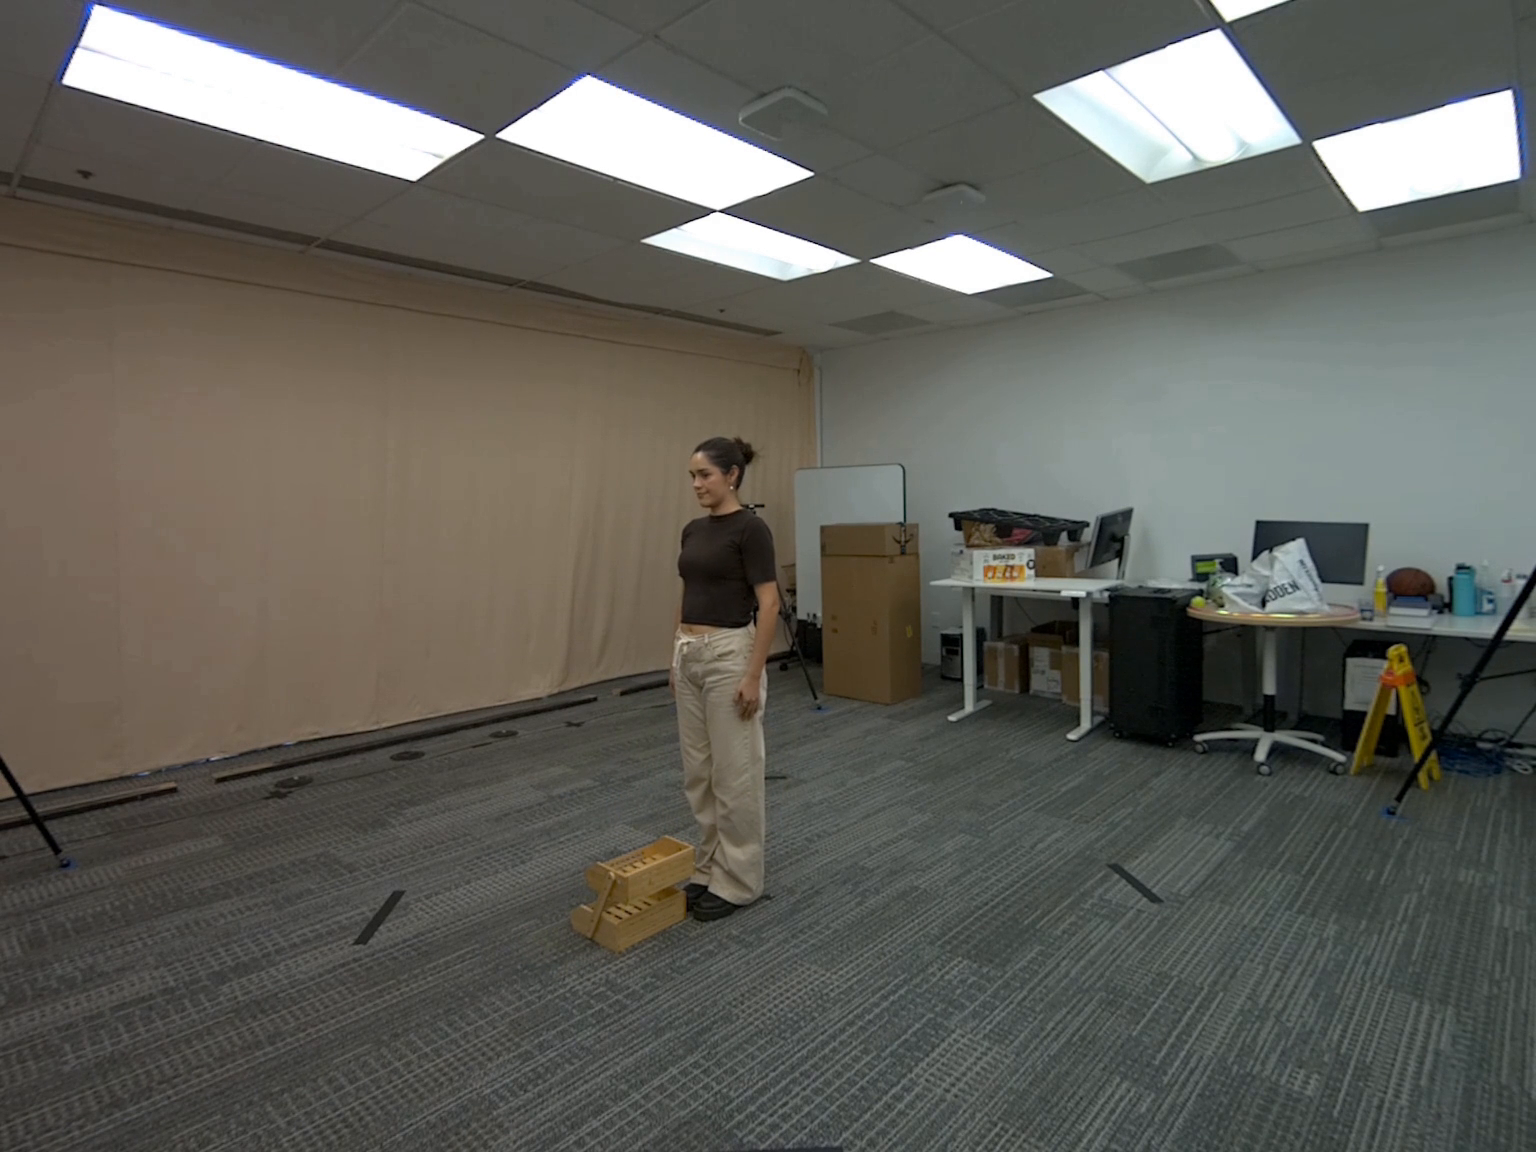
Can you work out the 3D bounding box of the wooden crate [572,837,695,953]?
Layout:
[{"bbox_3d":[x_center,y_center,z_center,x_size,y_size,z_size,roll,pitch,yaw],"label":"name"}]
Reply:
[{"bbox_3d":[-0.448,1.029,2.799,0.312,0.272,0.314,4,6,42],"label":"wooden crate"}]
